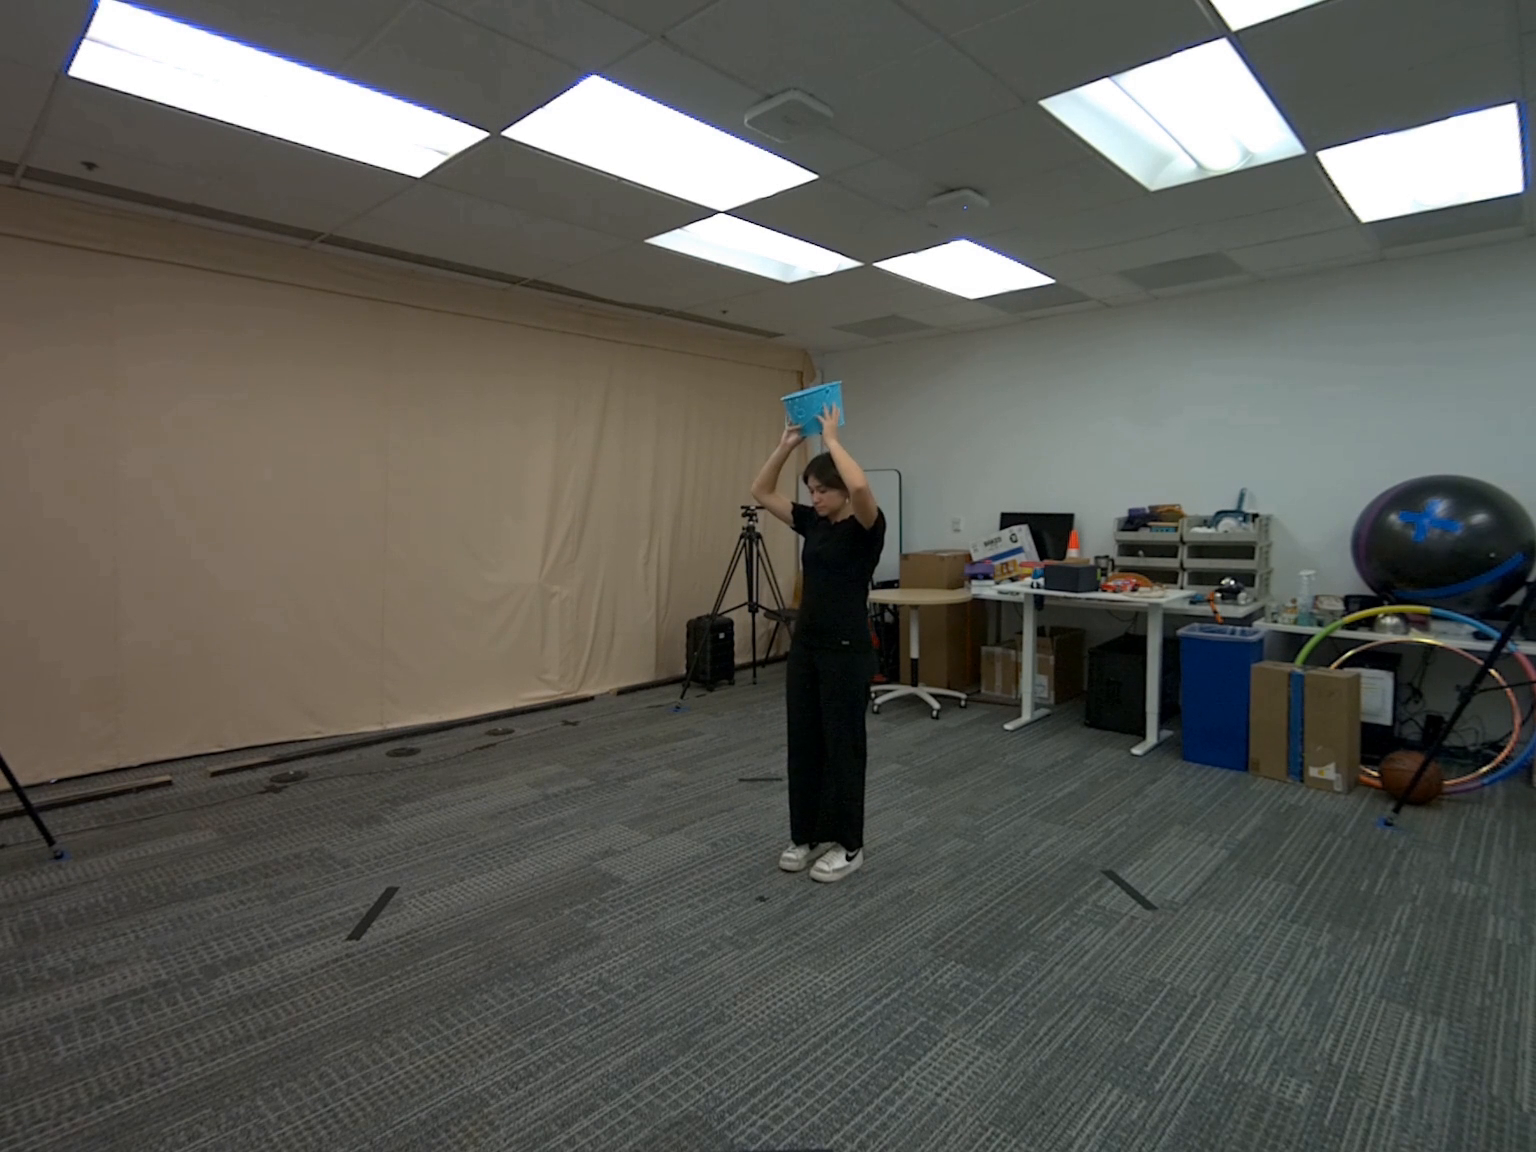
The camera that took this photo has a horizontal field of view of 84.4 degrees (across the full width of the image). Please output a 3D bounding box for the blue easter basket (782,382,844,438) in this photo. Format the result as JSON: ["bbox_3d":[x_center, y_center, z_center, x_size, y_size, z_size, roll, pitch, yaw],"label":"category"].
[{"bbox_3d":[0.169,-0.612,3.142,0.244,0.154,0.246,-16,13,2],"label":"blue easter basket"}]
